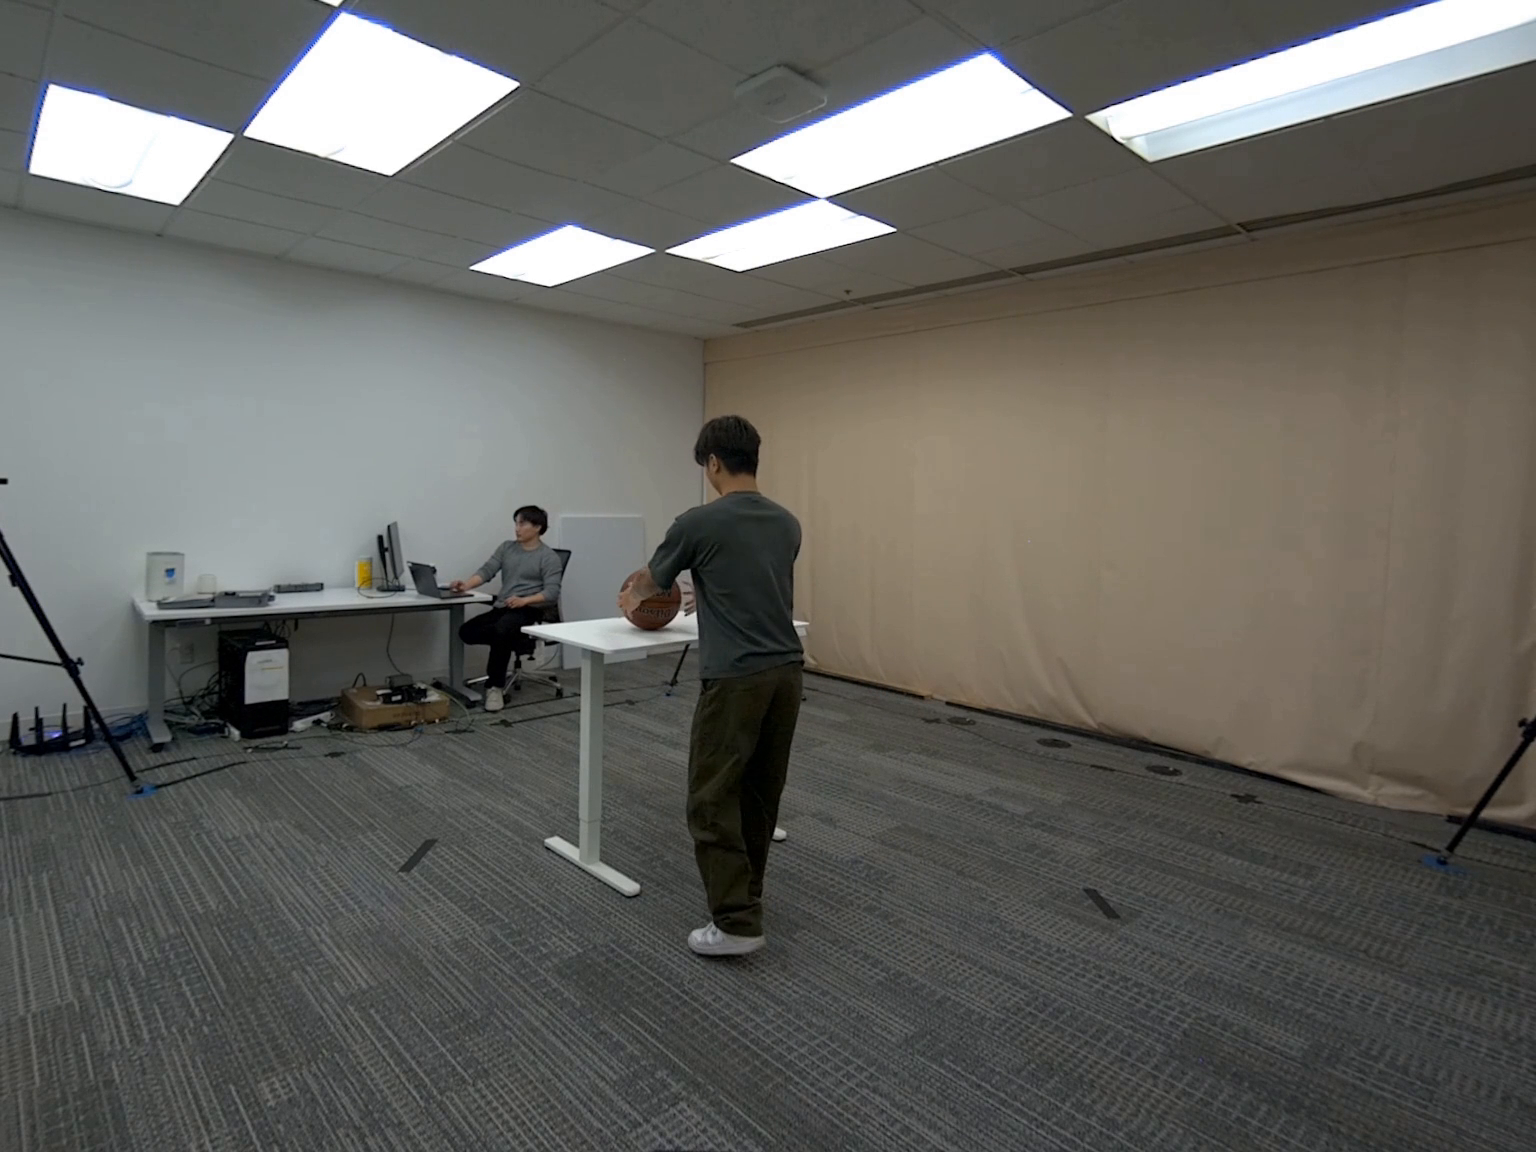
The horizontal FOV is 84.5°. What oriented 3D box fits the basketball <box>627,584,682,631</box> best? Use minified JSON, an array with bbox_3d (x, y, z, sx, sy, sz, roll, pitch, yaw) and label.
[{"bbox_3d":[-0.456,0.087,3.242,0.236,0.235,0.237,1,4,-1],"label":"basketball"}]
